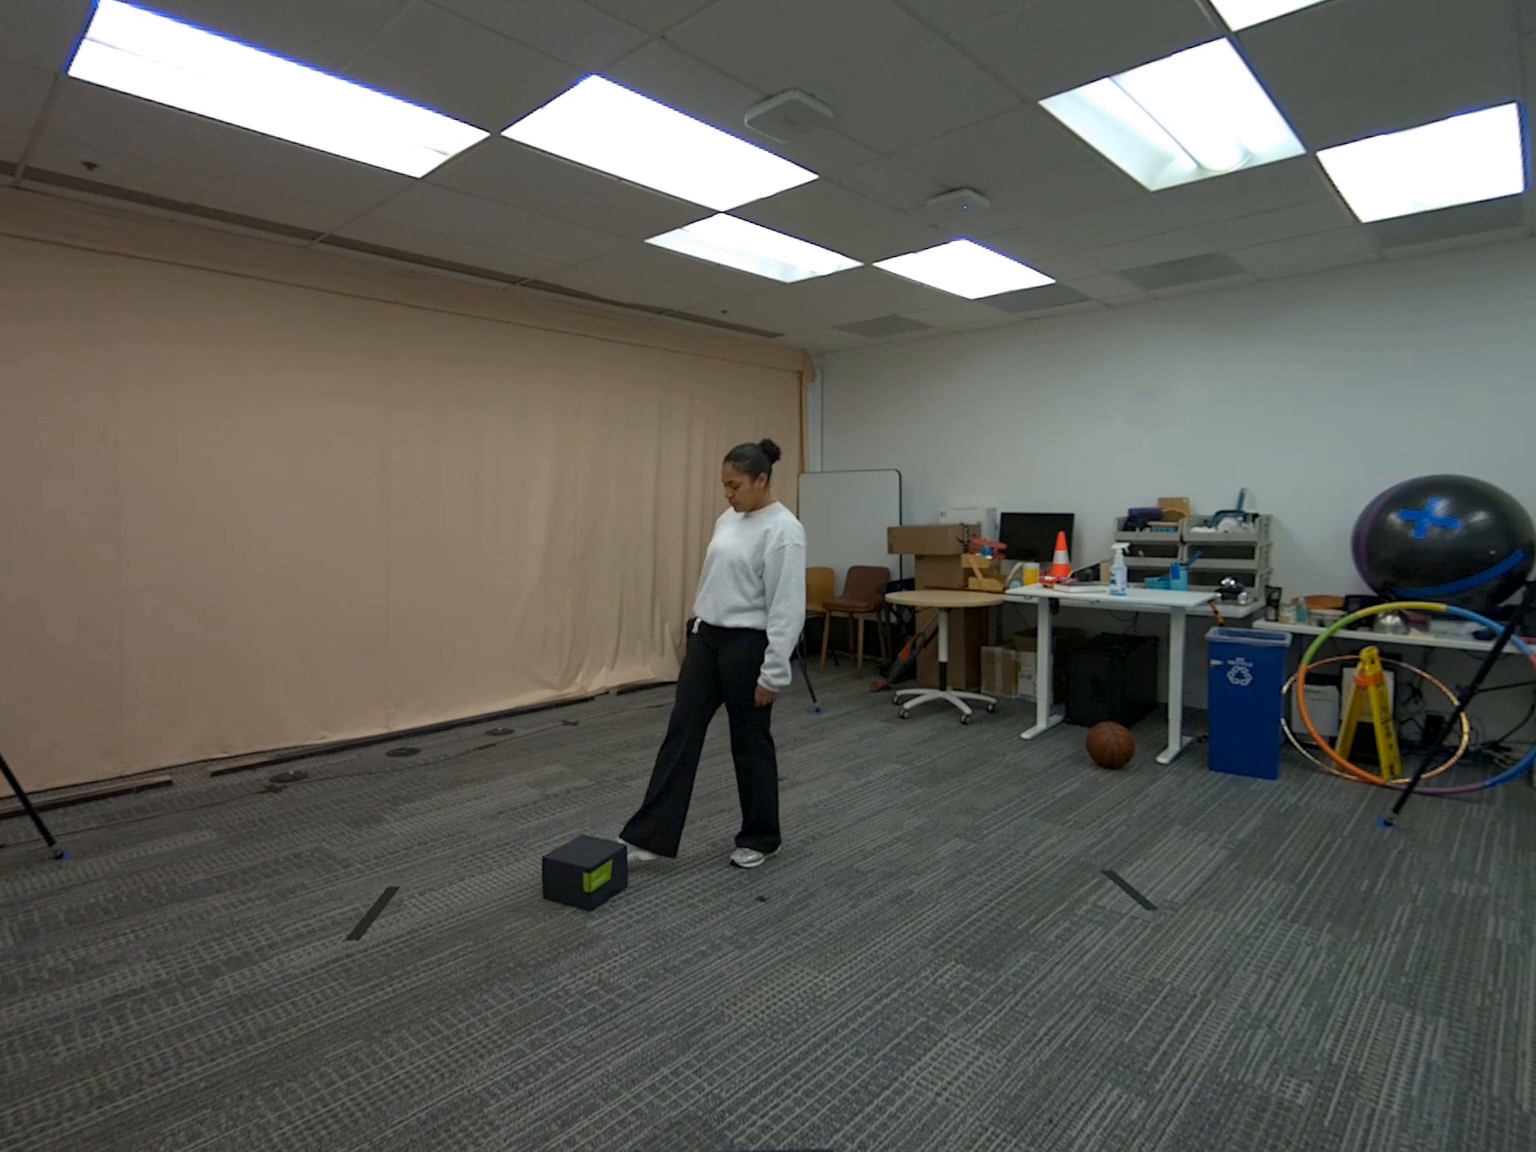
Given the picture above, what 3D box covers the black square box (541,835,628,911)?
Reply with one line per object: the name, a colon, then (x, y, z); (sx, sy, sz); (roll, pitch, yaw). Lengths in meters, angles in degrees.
black square box: (-0.650, 1.061, 3.031); (0.223, 0.155, 0.222); (2, 5, 27)
